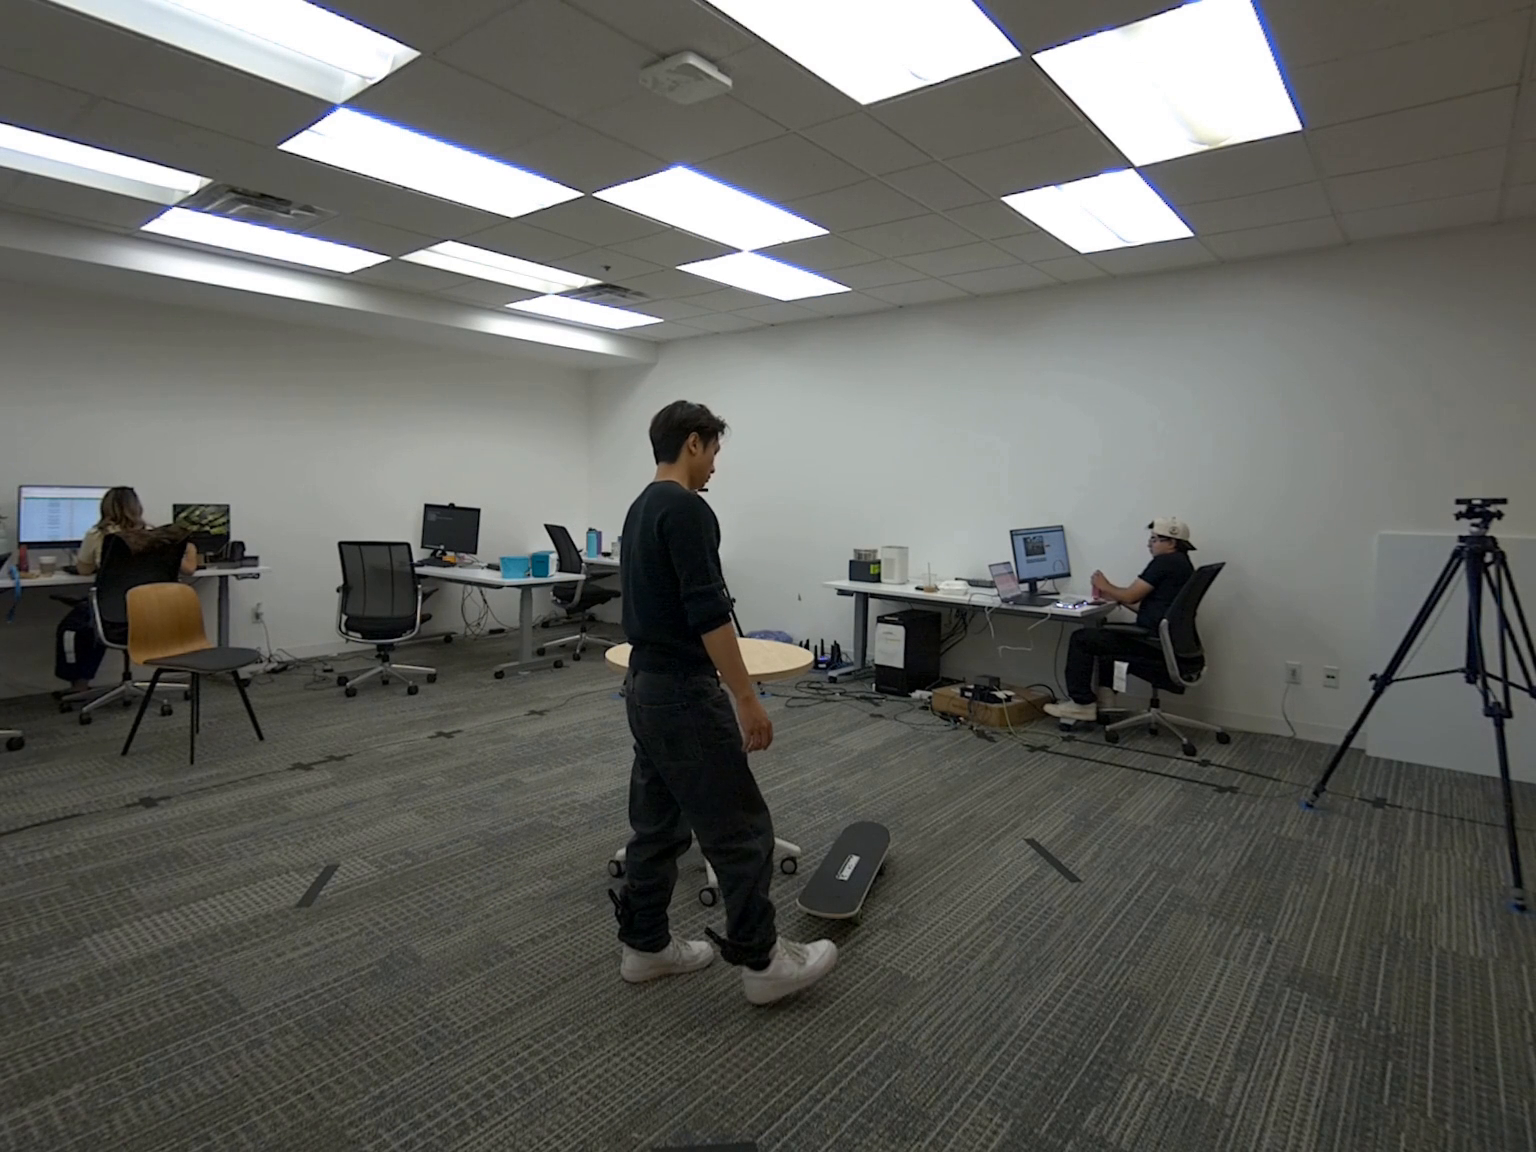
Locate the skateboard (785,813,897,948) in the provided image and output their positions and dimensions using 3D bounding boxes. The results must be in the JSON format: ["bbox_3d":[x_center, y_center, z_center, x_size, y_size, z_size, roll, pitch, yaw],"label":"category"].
[{"bbox_3d":[0.276,1.034,2.949,0.198,0.110,0.771,3,6,20],"label":"skateboard"}]
